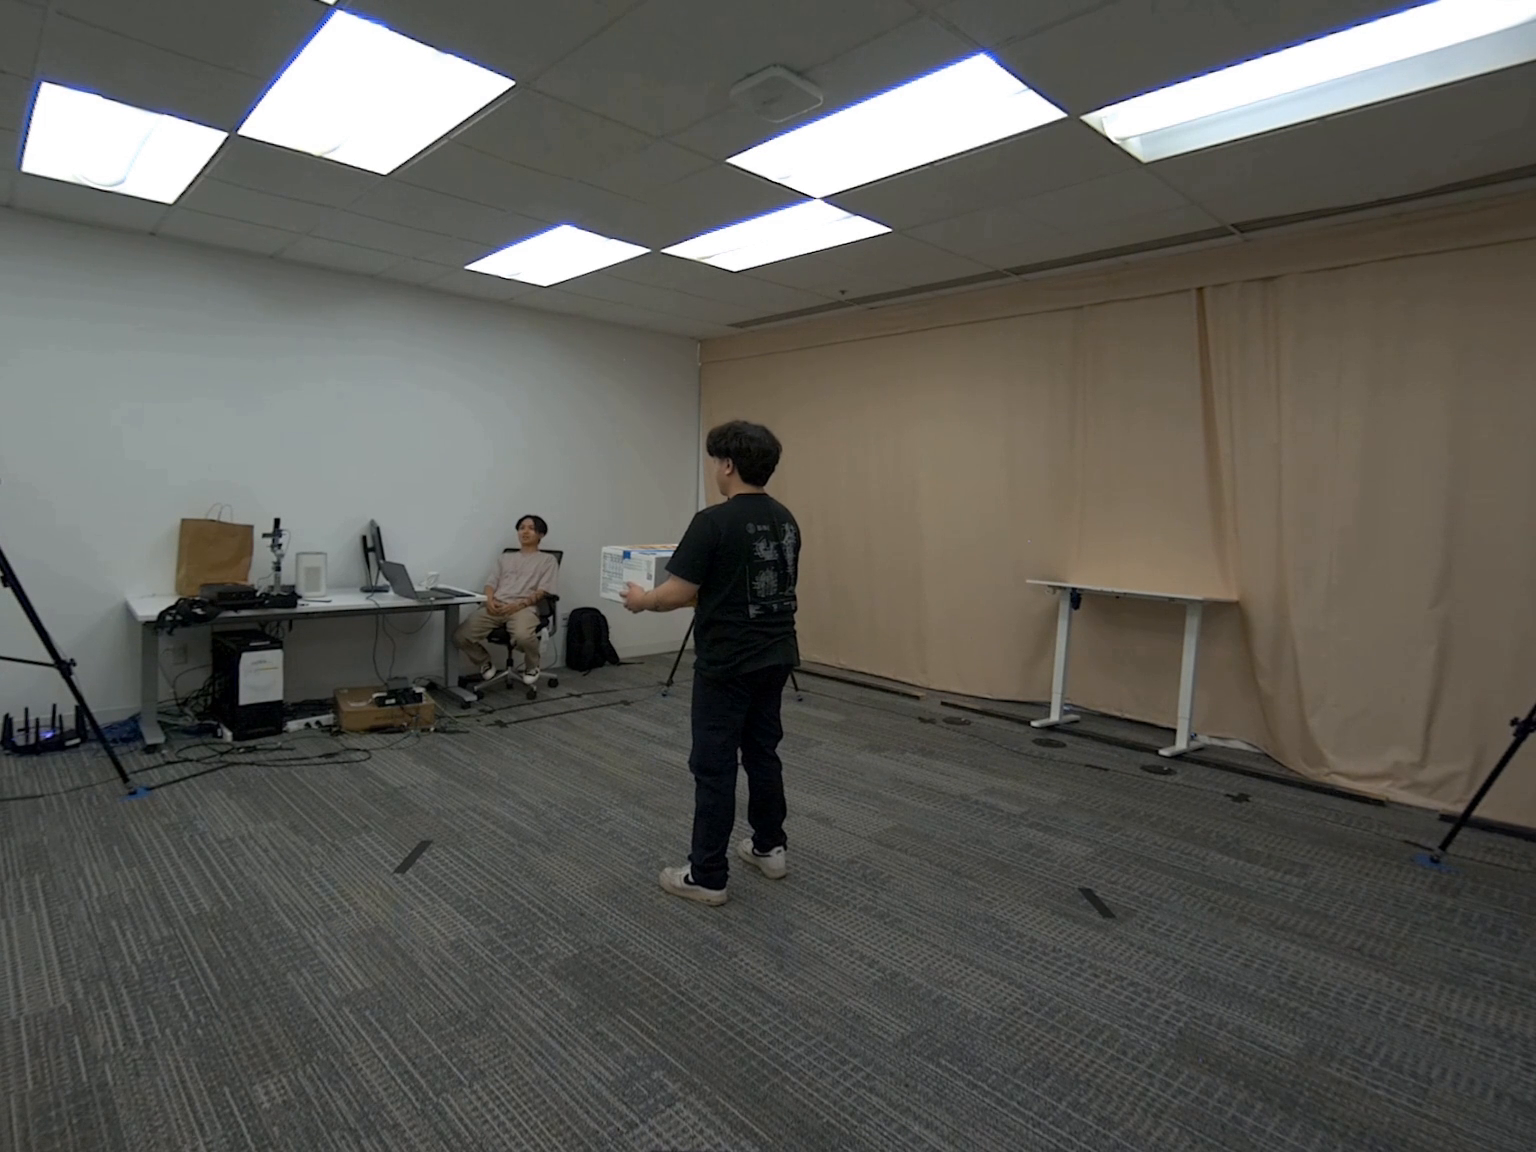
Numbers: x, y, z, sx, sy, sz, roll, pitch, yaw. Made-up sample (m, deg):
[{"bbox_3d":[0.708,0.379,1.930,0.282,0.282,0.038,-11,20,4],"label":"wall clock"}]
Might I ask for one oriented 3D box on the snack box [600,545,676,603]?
[{"bbox_3d":[-0.396,-0.004,3.312,0.396,0.205,0.349,-5,10,-45],"label":"snack box"}]
